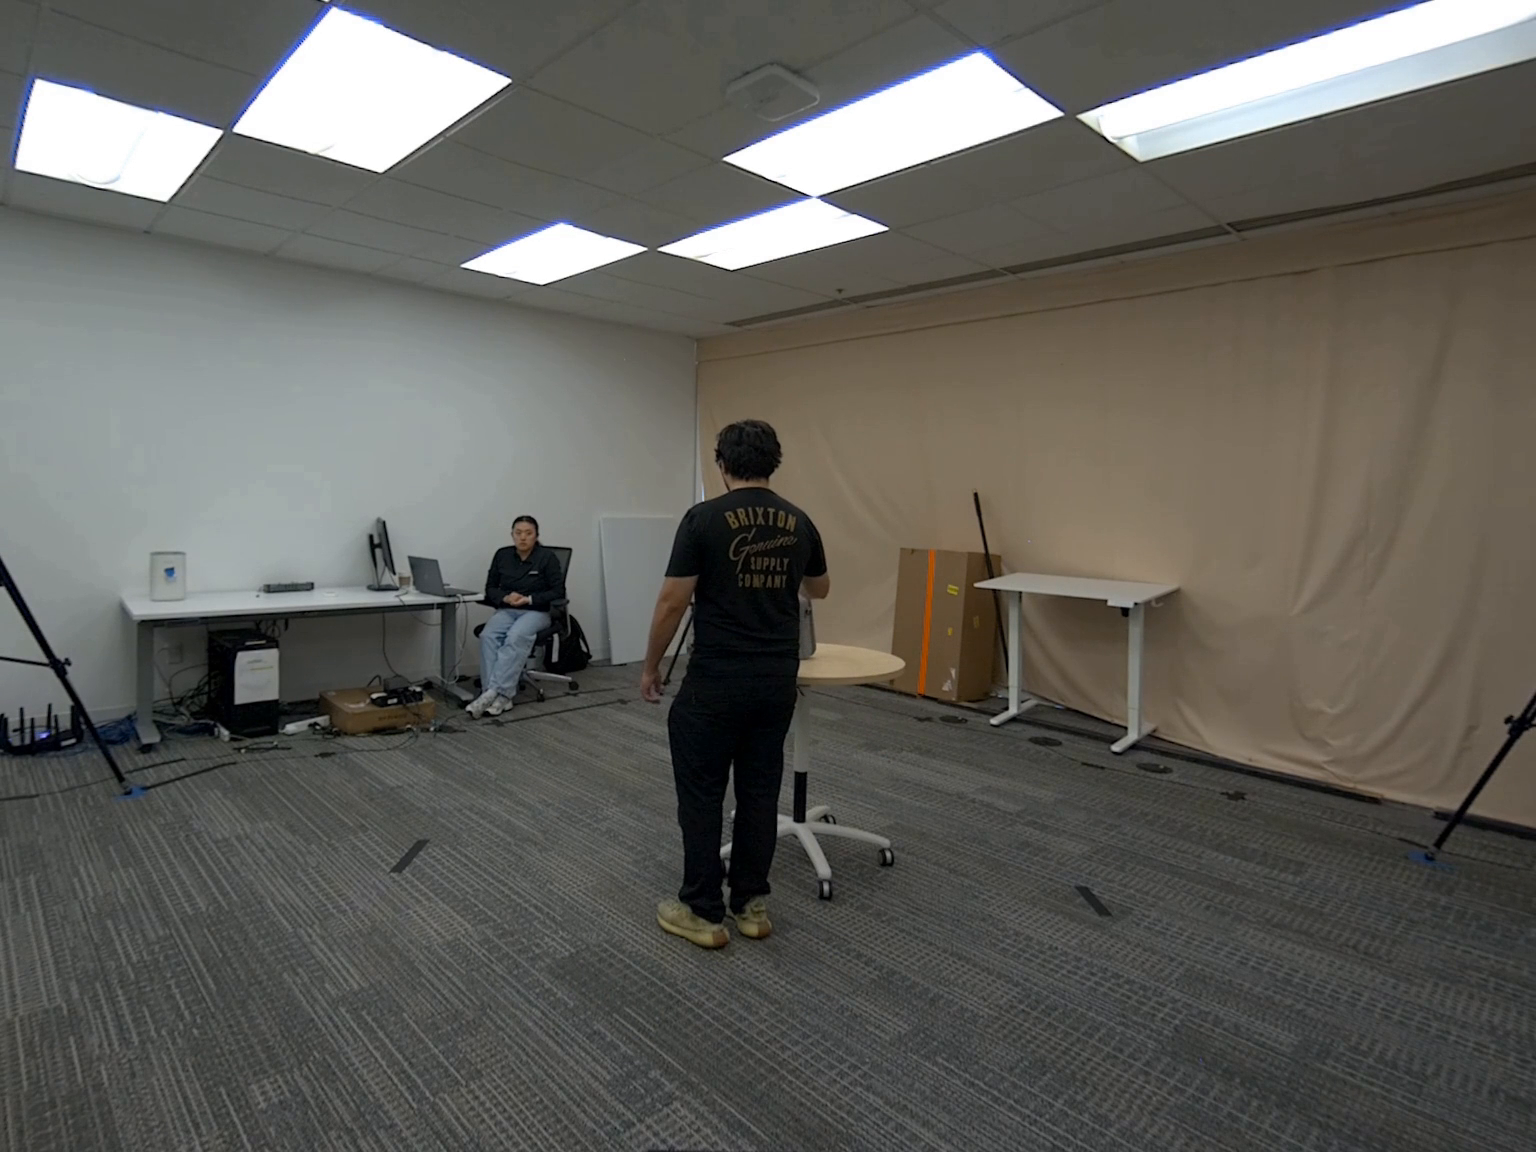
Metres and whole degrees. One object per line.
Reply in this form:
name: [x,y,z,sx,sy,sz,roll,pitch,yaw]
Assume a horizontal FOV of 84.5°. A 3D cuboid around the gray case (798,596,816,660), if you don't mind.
gray case: [0.048,0.187,3.261,0.263,0.258,0.103,3,17,33]
